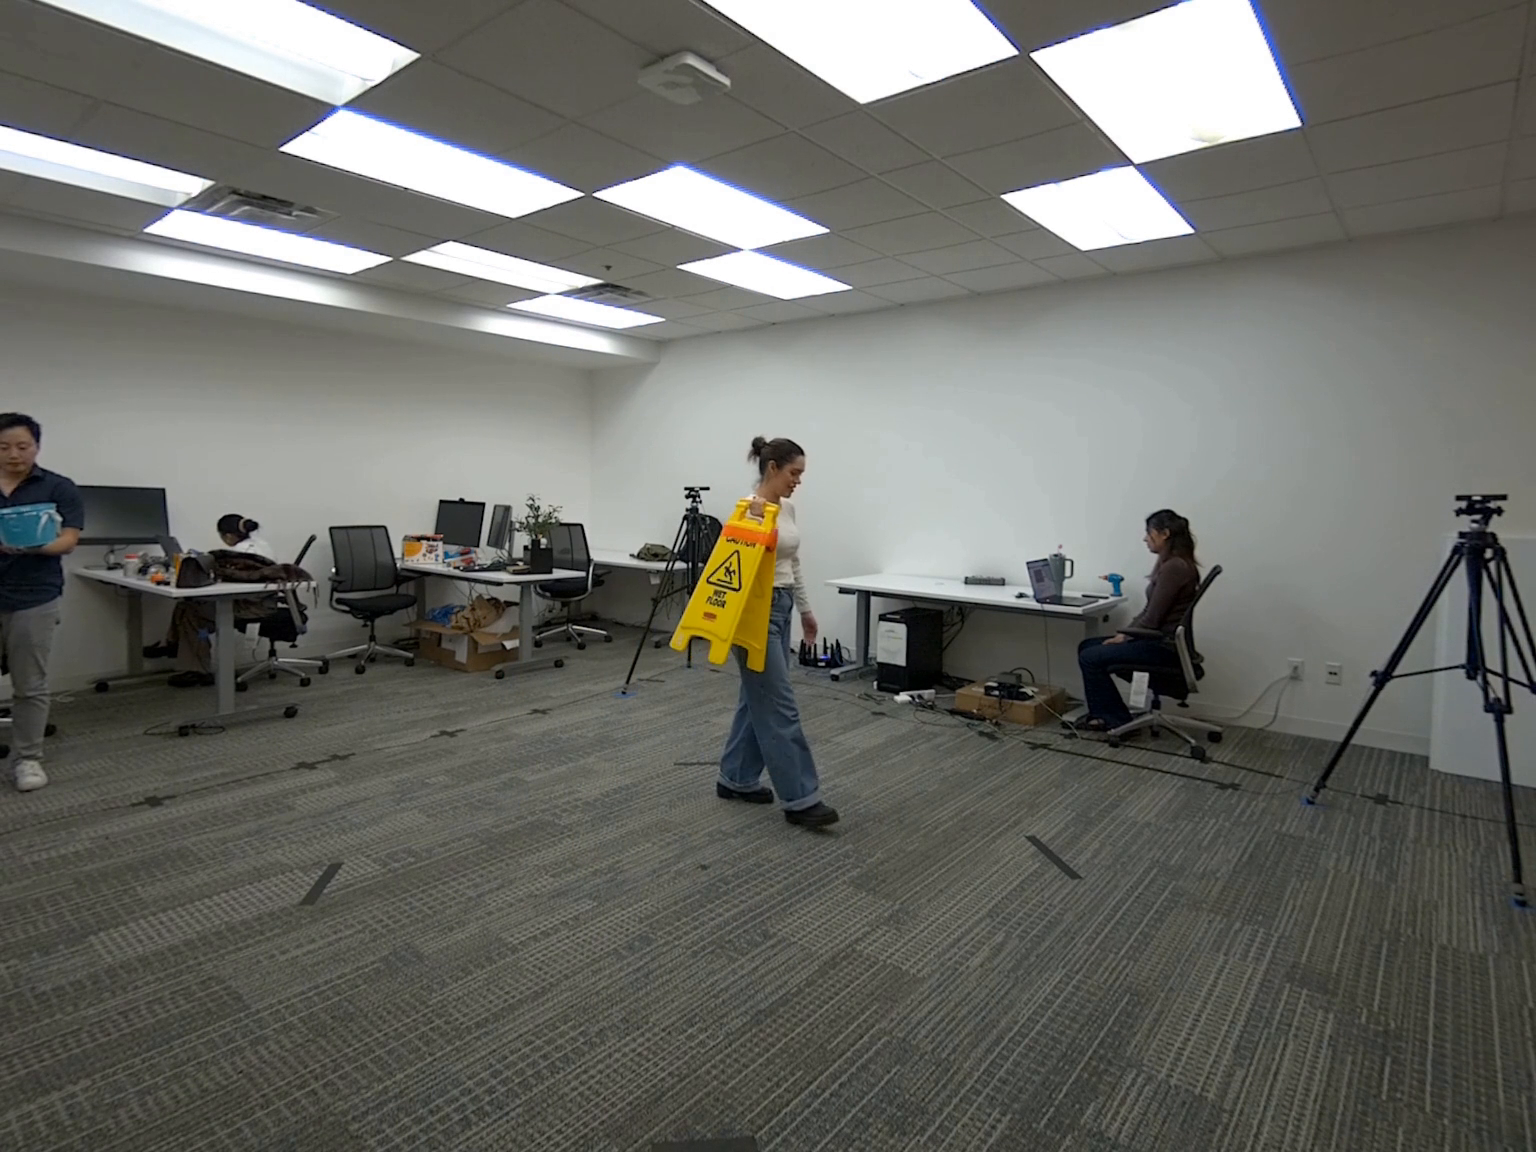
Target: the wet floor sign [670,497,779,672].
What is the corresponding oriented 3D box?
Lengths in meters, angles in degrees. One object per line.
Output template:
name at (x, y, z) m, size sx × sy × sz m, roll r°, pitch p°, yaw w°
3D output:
wet floor sign at (-0.125, 0.017, 3.357) m, size 0.293 × 0.647 × 0.279 m, roll 13°, pitch -3°, yaw 37°
